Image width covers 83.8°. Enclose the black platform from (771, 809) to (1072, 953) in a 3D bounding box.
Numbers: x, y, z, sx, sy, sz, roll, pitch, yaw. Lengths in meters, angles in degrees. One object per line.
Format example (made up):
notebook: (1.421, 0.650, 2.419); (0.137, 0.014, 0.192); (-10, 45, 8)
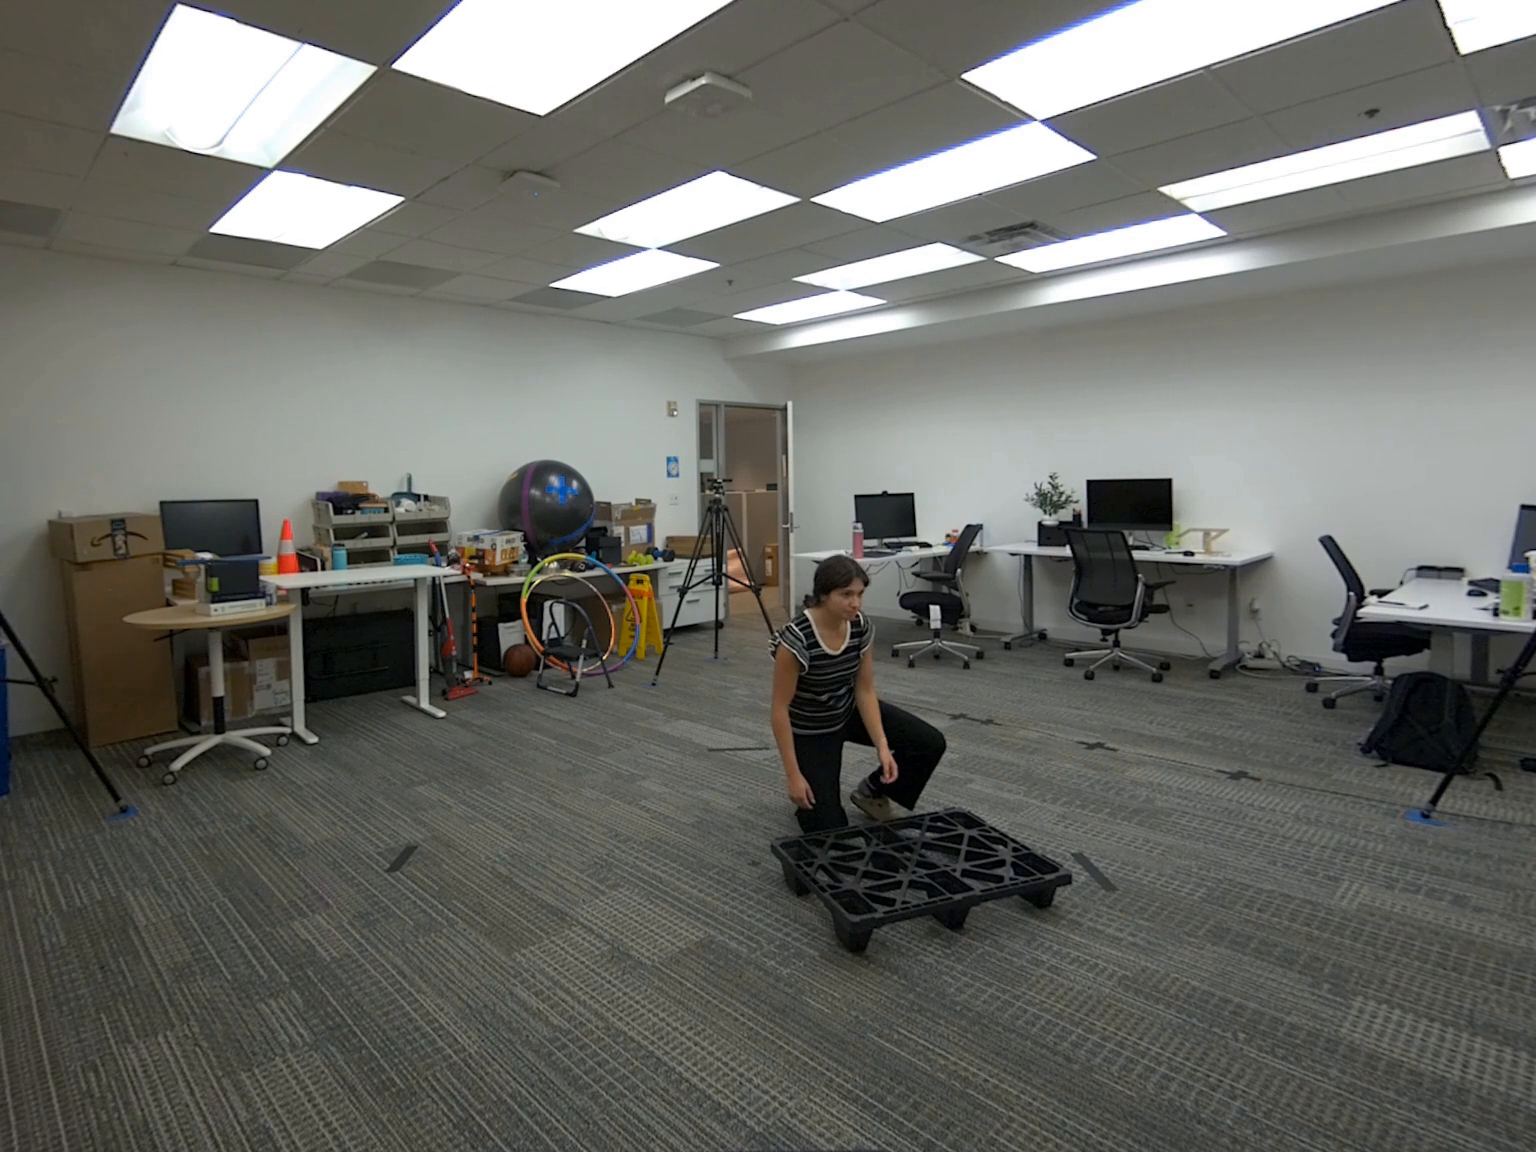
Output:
black platform: (0.494, 1.000, 2.847); (0.791, 0.142, 0.620); (-4, 8, -21)
